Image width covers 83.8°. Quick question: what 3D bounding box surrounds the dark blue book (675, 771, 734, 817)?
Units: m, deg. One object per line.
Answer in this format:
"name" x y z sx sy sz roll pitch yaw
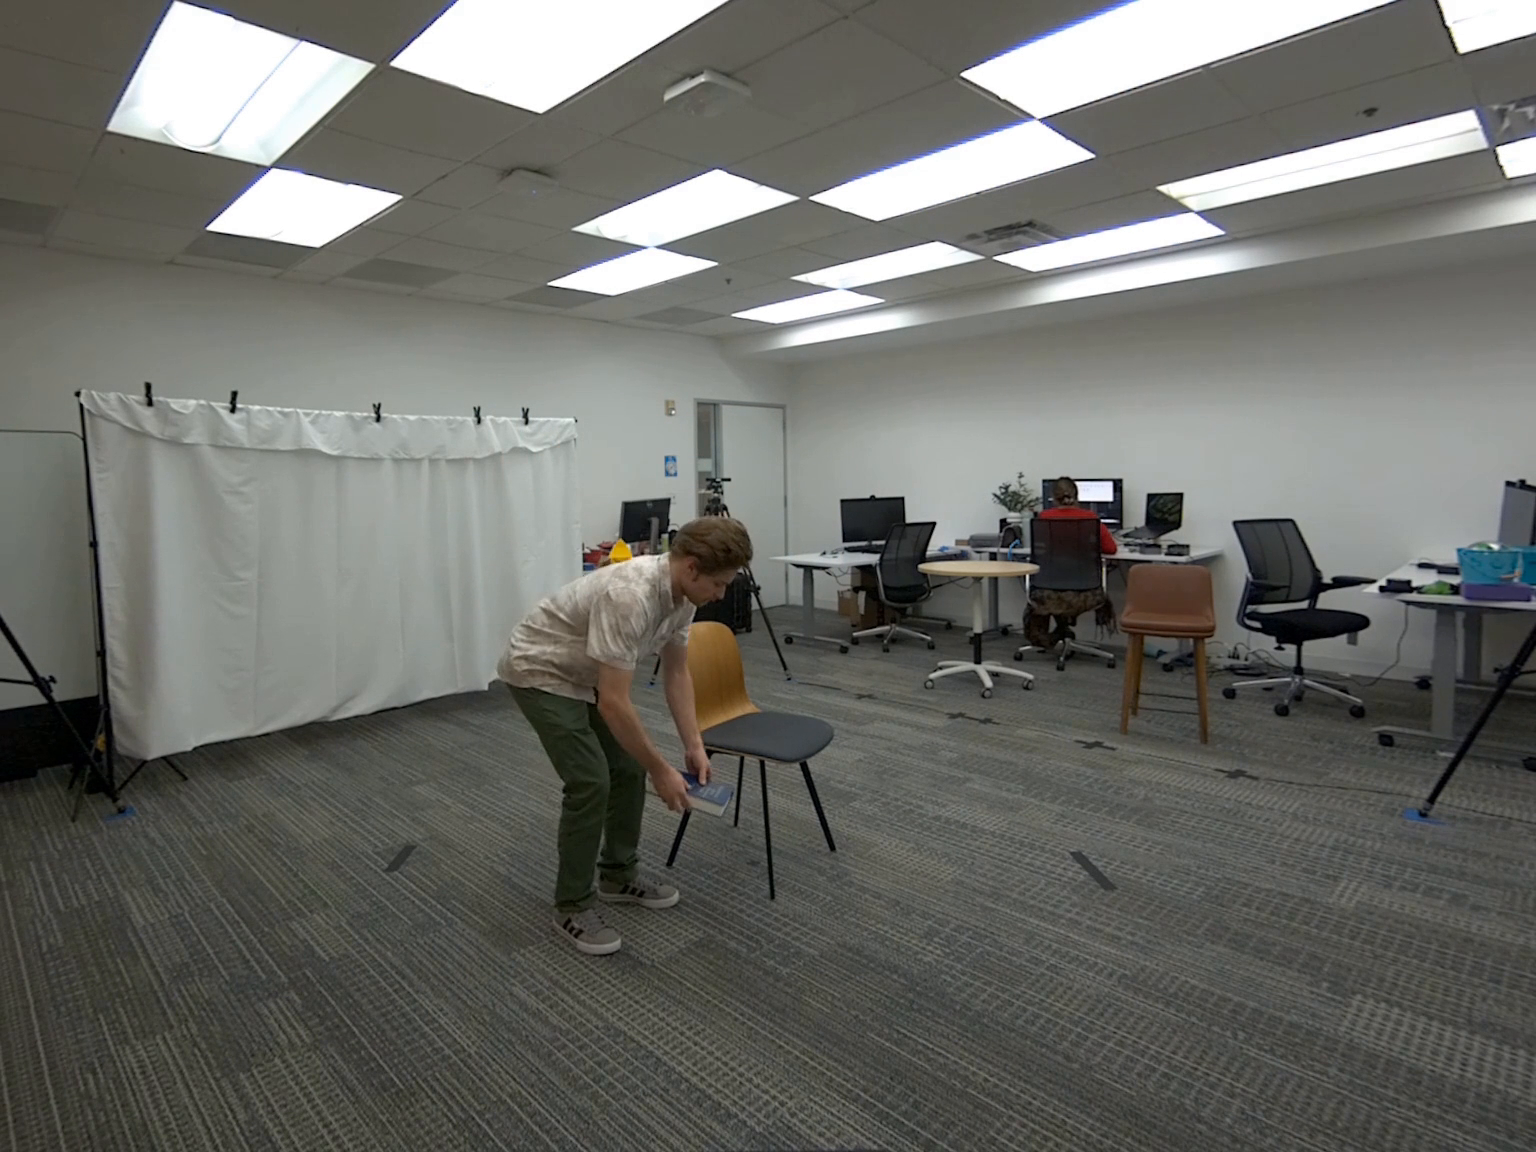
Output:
"dark blue book" -0.245 0.664 2.635 0.248 0.045 0.162 15 9 11
